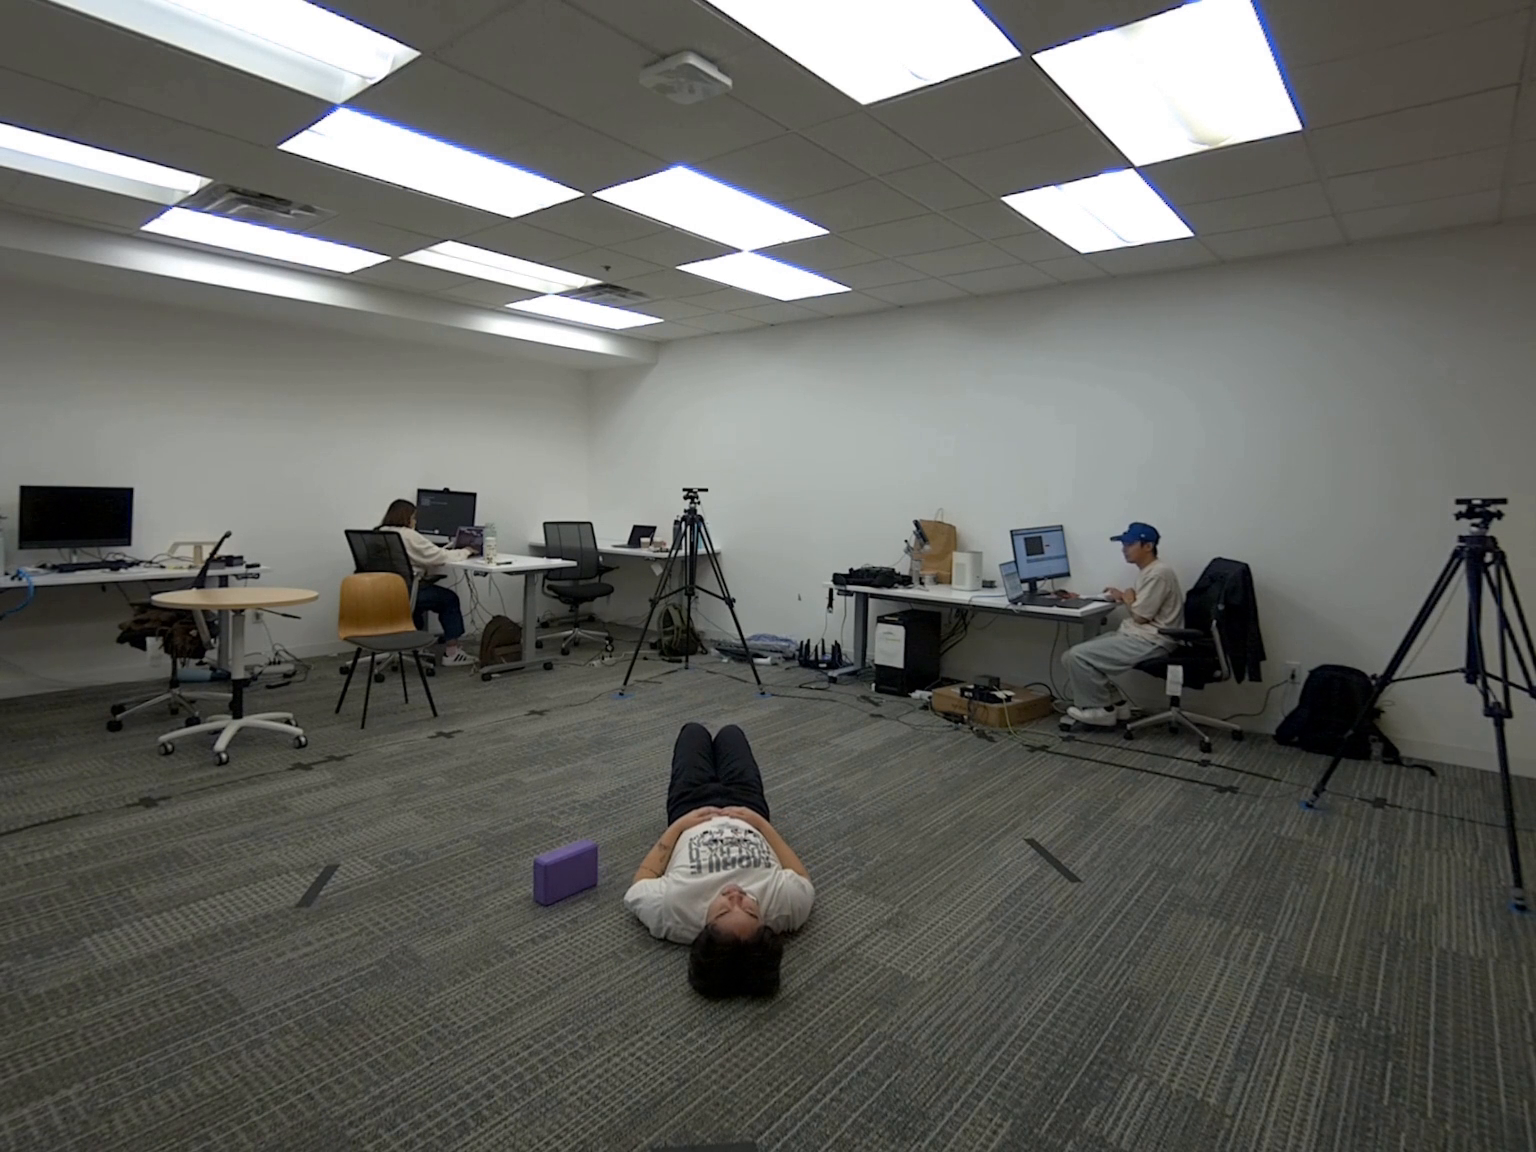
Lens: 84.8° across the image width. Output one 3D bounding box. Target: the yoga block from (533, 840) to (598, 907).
[{"bbox_3d":[-0.702,1.007,2.905,0.079,0.148,0.223,3,5,40],"label":"yoga block"}]
